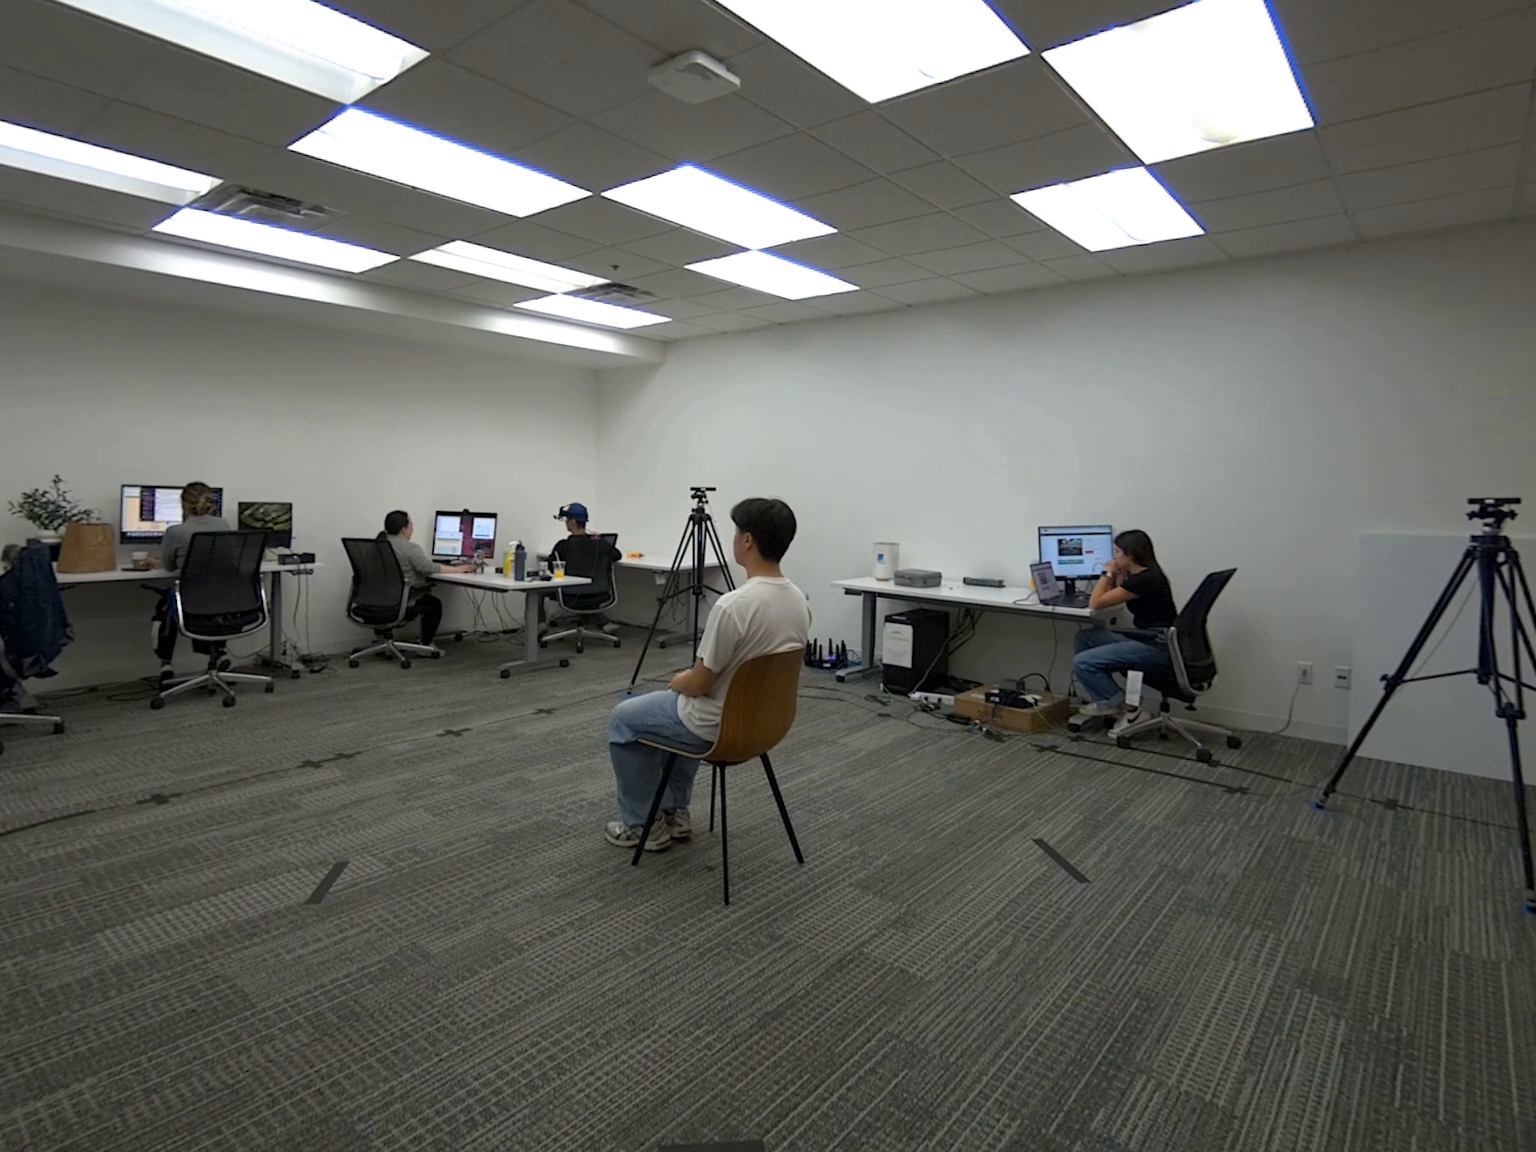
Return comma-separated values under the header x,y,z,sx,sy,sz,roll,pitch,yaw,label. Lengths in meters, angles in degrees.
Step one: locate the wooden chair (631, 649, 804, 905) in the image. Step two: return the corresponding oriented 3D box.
x,y,z,sx,sy,sz,roll,pitch,yaw,label
-0.182,0.638,3.118,0.542,0.873,0.463,10,7,38,wooden chair
